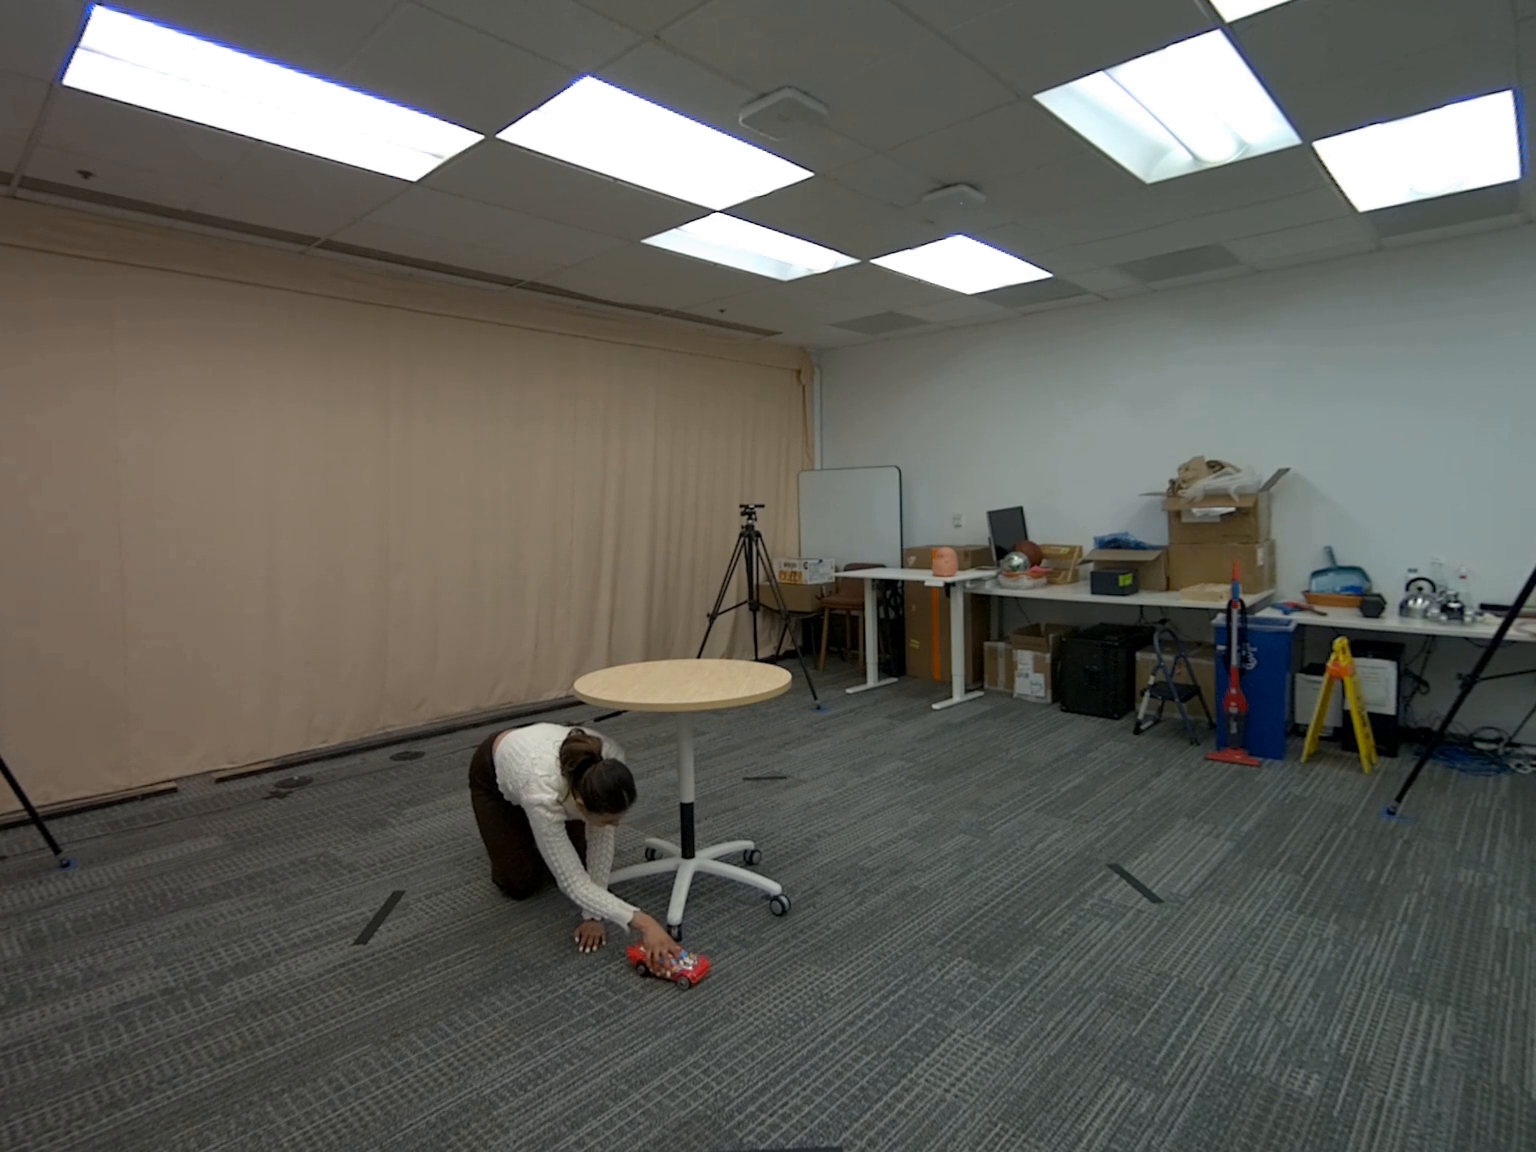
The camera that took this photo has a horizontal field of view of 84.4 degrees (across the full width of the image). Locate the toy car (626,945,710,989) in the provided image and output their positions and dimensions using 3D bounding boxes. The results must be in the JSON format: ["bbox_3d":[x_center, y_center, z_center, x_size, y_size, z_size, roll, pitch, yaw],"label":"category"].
[{"bbox_3d":[-0.299,1.162,2.516,0.261,0.083,0.127,11,10,25],"label":"toy car"}]
